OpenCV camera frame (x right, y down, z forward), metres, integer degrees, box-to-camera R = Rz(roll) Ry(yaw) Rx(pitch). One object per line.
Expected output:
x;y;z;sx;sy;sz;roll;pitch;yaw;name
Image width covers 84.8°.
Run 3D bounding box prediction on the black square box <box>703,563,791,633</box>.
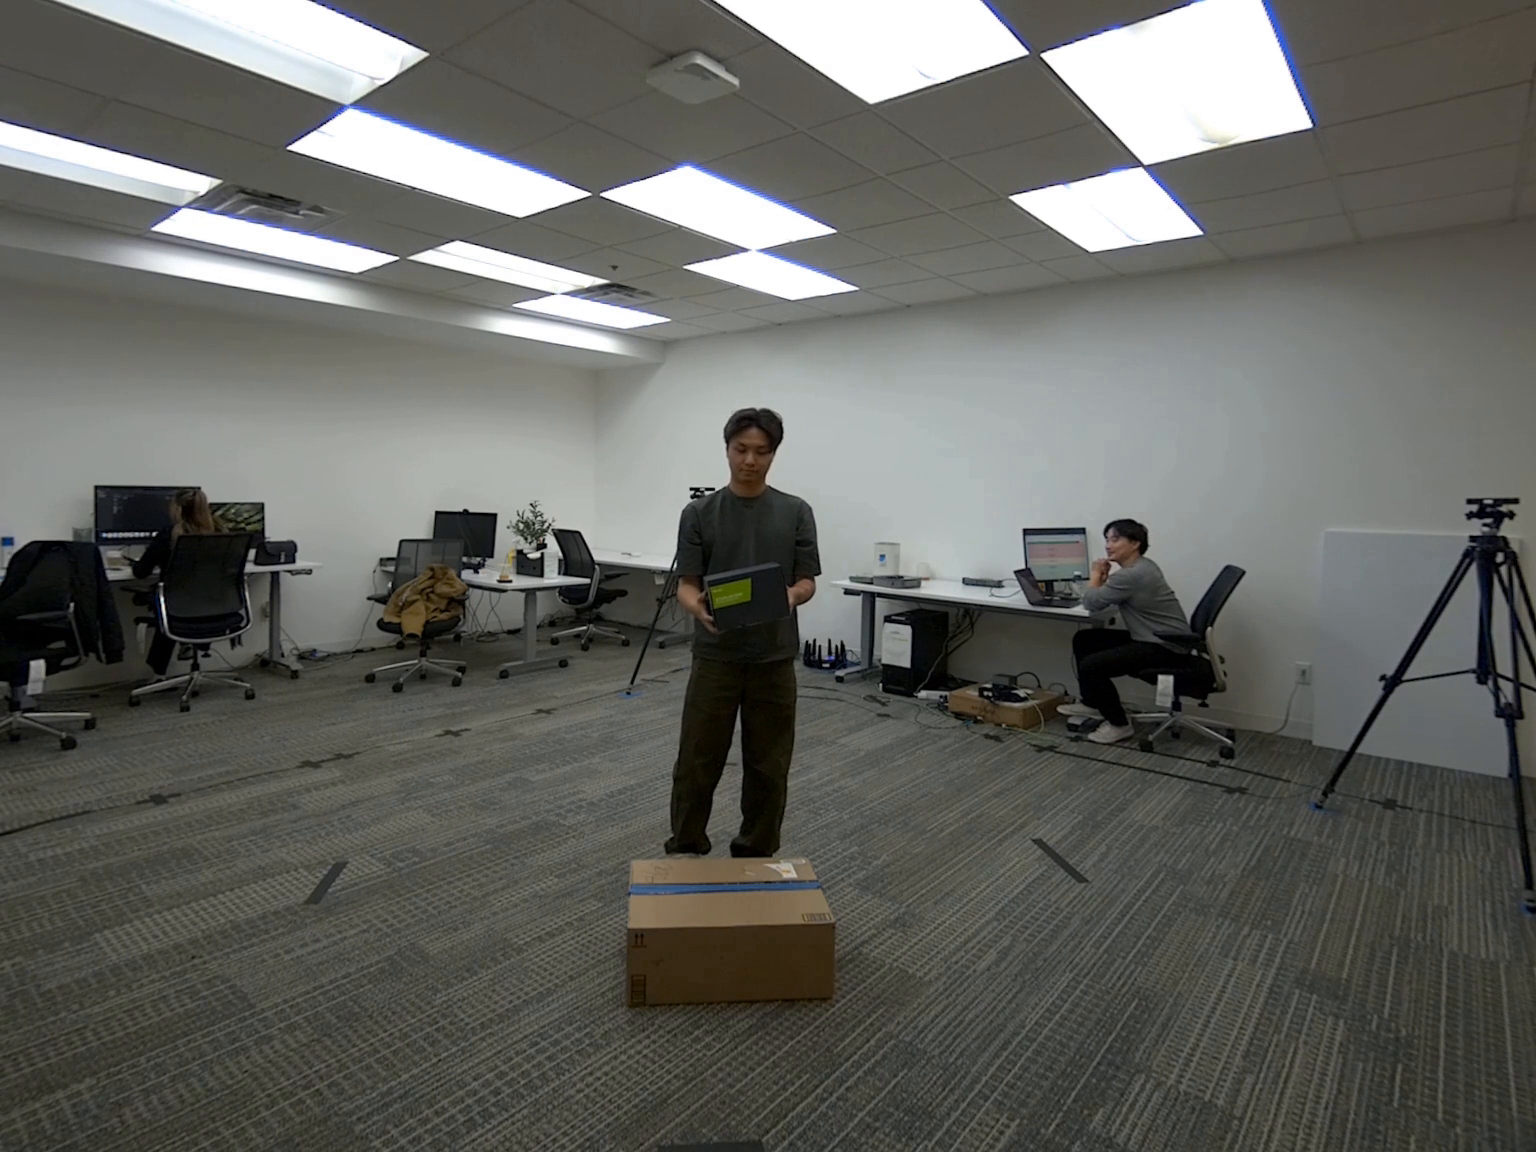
-0.075;0.051;2.622;0.227;0.155;0.218;-9;3;-5;black square box
